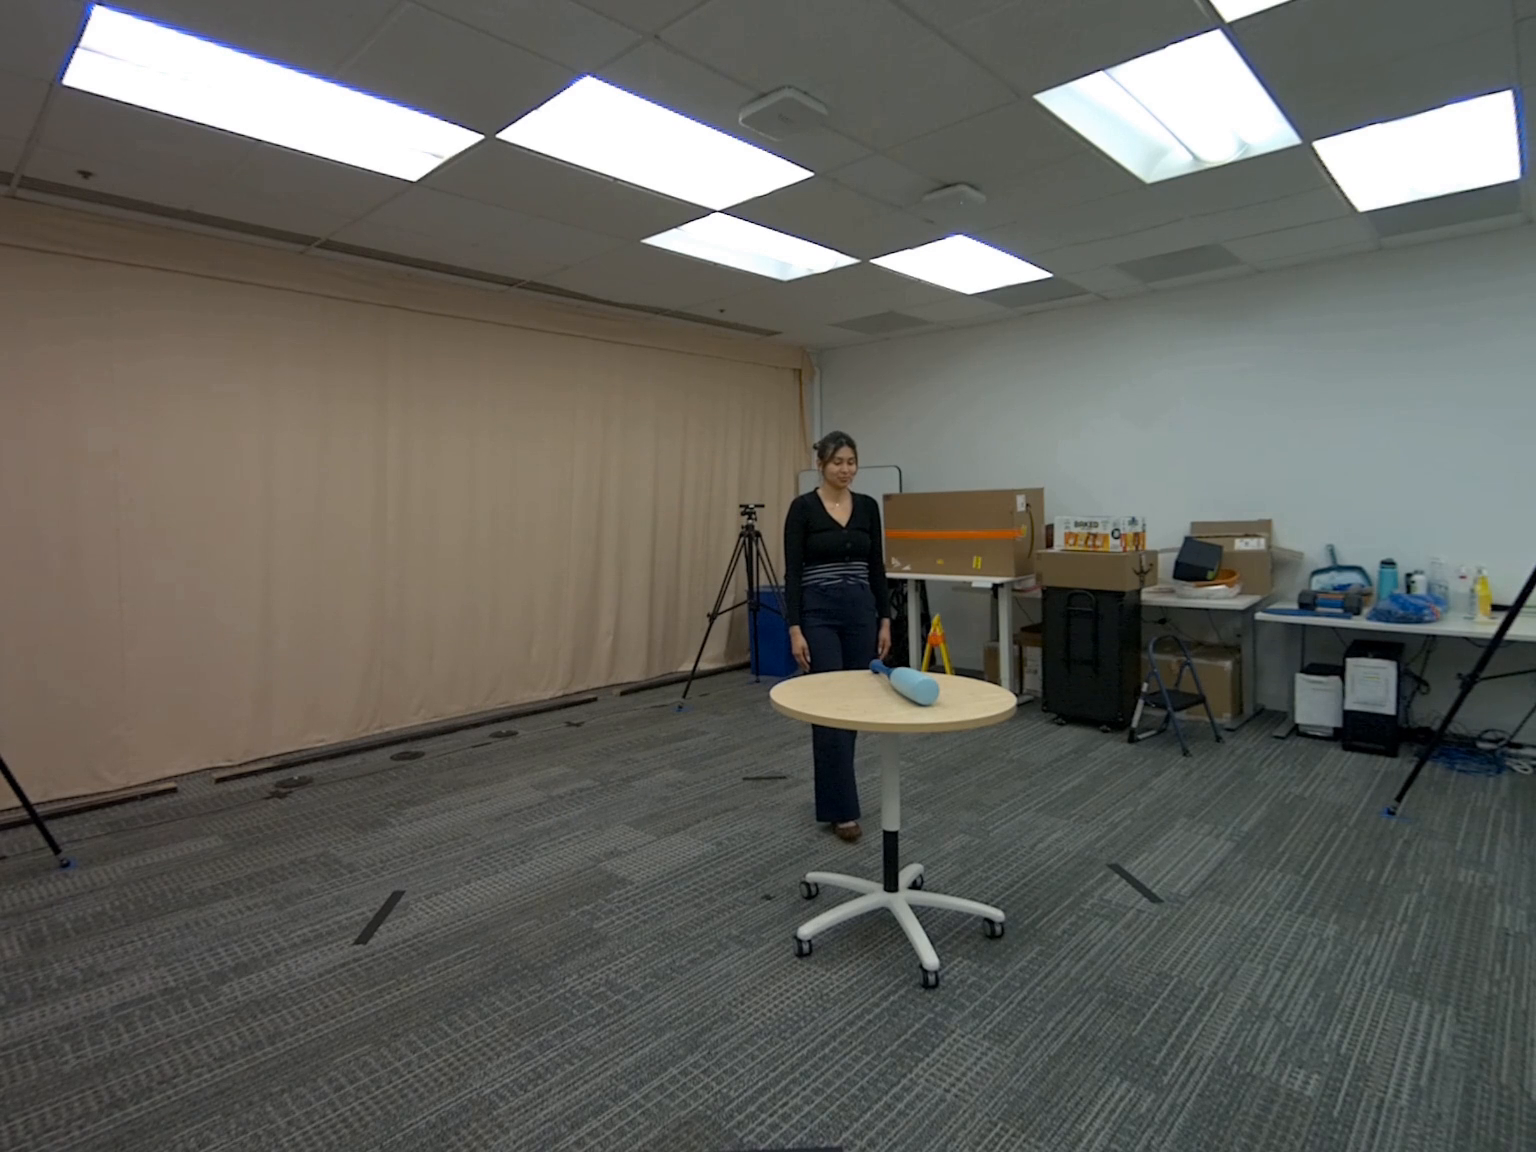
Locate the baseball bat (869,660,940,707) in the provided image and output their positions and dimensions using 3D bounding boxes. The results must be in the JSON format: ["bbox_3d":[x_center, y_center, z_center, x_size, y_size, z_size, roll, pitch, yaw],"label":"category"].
[{"bbox_3d":[0.432,0.331,2.752,0.088,0.089,0.547,-1,2,-8],"label":"baseball bat"}]
